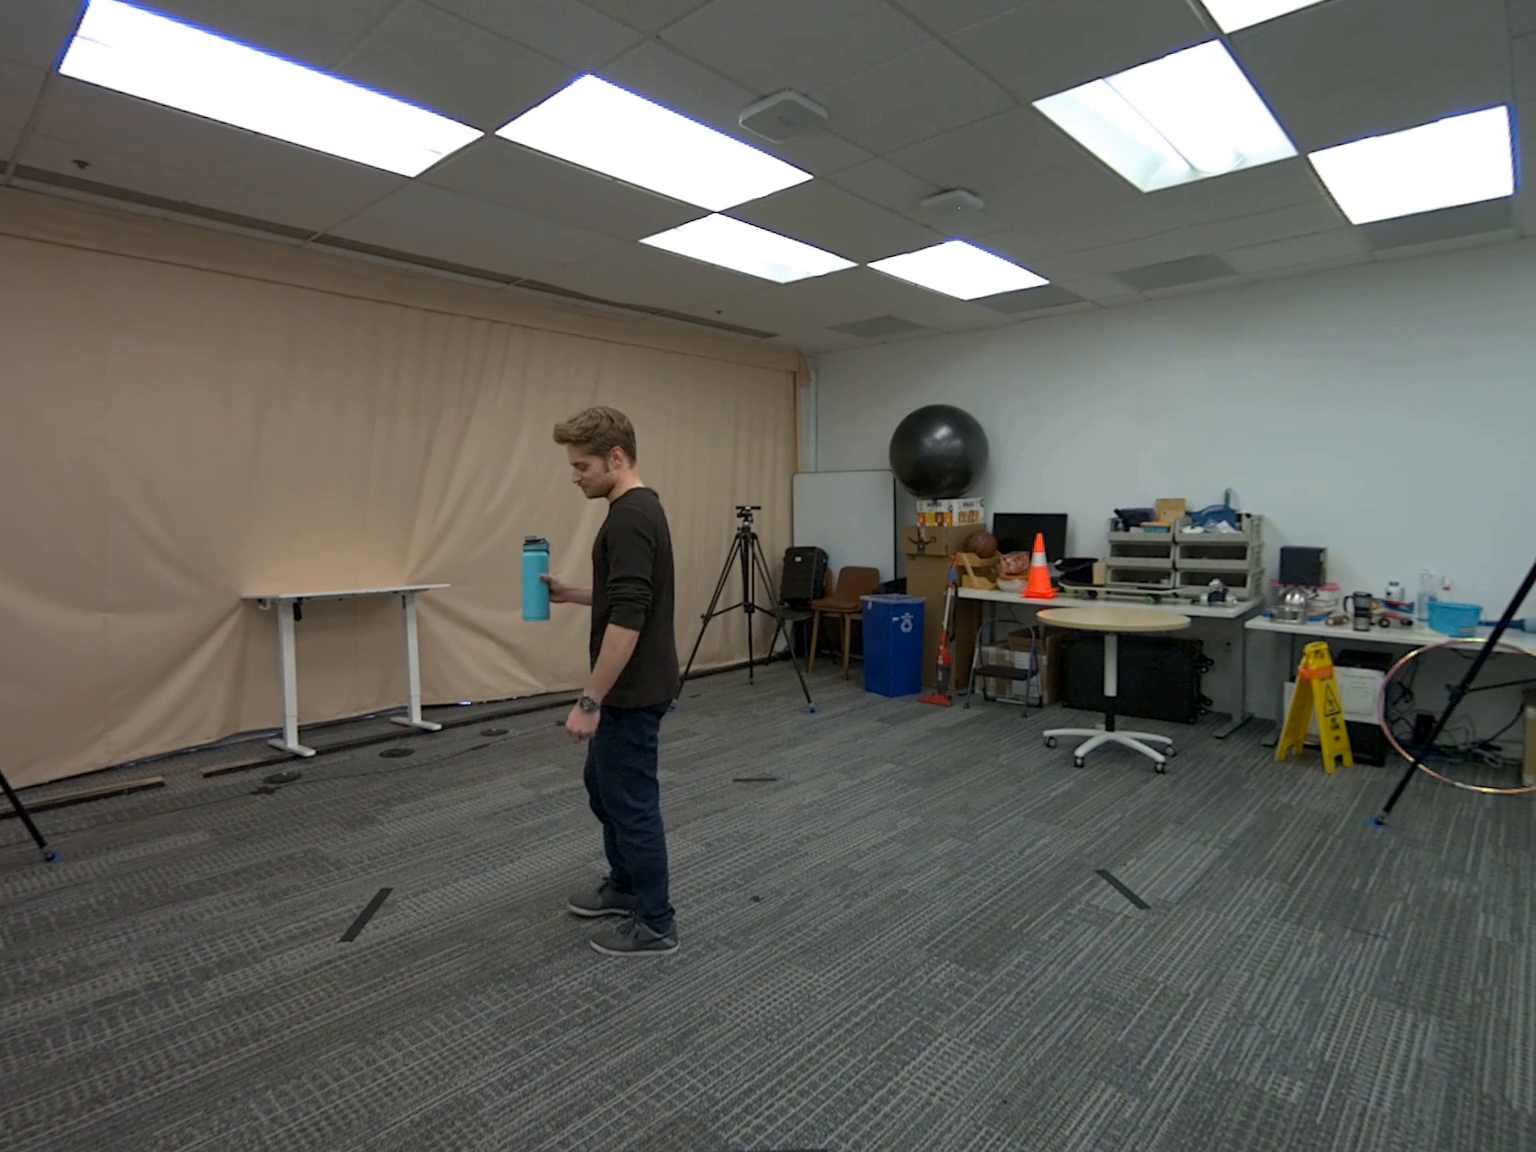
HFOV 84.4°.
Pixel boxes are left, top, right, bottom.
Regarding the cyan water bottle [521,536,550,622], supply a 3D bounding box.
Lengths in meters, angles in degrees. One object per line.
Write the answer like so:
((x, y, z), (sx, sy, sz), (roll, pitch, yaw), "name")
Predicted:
((-0.768, 0.008, 2.802), (0.092, 0.284, 0.092), (-1, -2, -2), "cyan water bottle")
